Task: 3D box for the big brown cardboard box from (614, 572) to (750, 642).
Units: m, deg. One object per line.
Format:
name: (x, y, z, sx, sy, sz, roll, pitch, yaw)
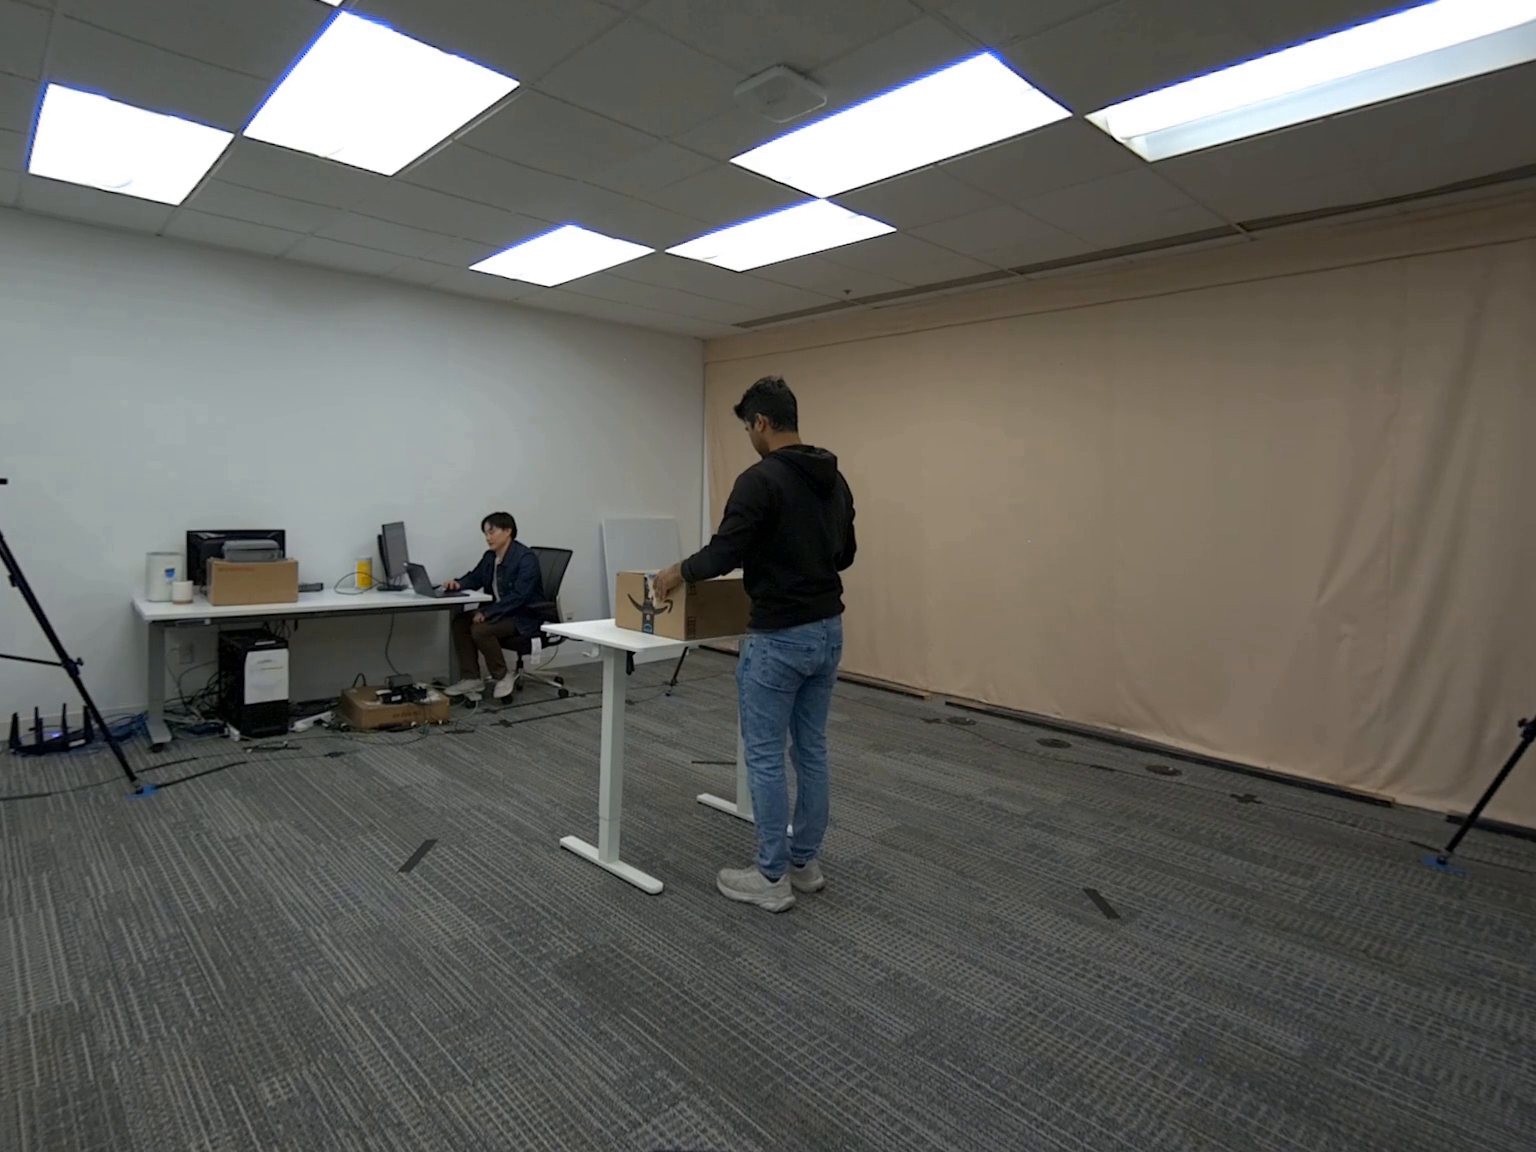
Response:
big brown cardboard box: (-0.249, 0.090, 3.312, 0.428, 0.232, 0.576, 5, 7, 44)
